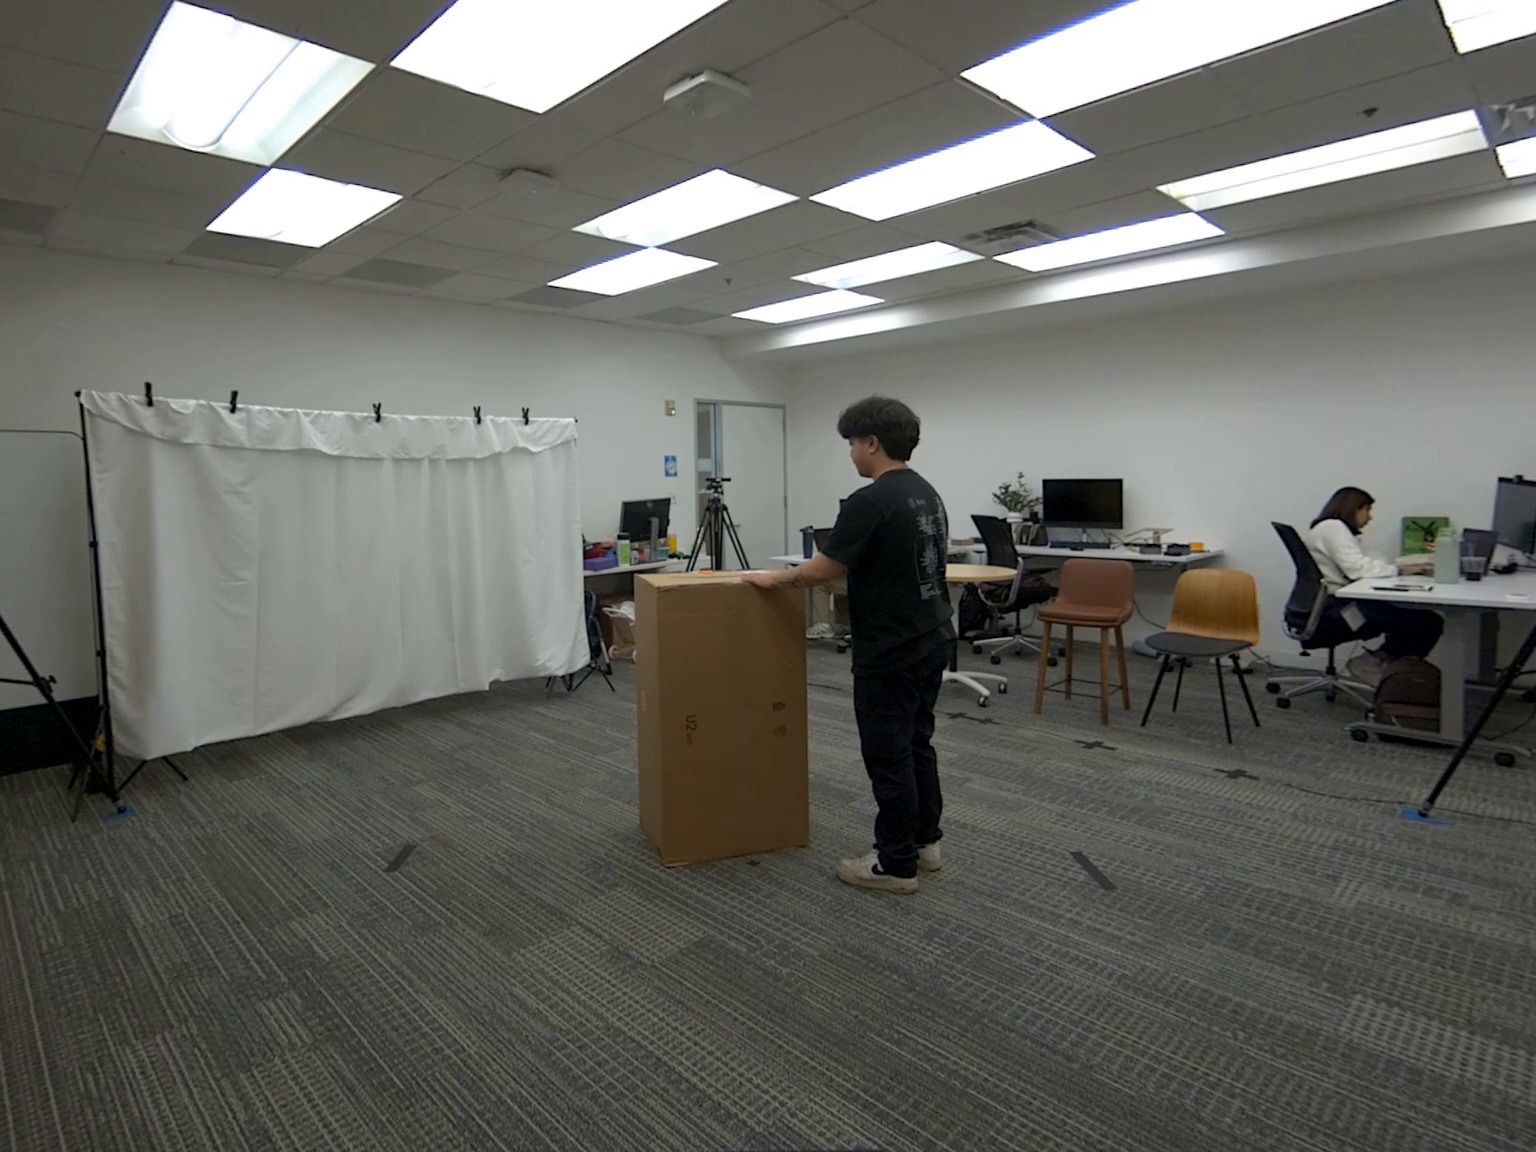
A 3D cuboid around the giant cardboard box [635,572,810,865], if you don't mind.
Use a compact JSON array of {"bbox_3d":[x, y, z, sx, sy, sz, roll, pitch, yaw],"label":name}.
[{"bbox_3d":[-0.190,0.506,3.332,0.575,1.024,0.455,-2,4,-18],"label":"giant cardboard box"}]
